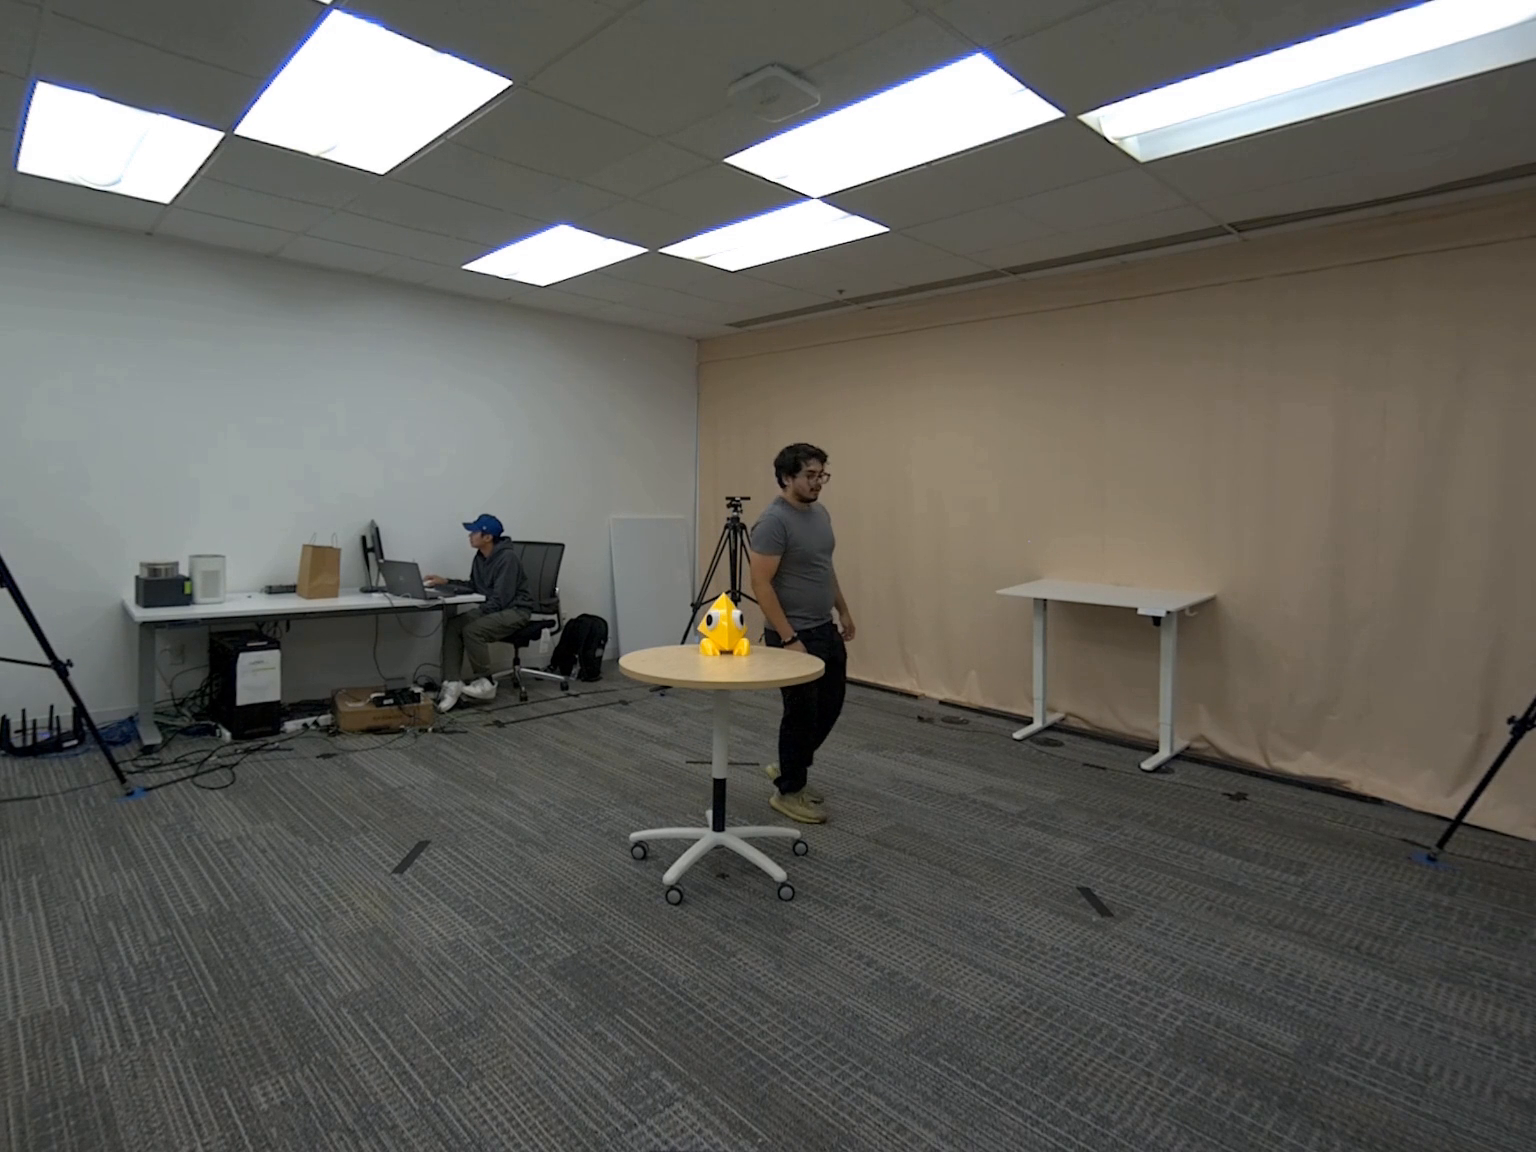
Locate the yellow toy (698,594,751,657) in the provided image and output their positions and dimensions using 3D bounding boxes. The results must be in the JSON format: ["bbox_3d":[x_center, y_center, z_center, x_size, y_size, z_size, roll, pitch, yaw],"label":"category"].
[{"bbox_3d":[-0.180,0.188,3.333,0.203,0.230,0.194,1,2,-8],"label":"yellow toy"}]
